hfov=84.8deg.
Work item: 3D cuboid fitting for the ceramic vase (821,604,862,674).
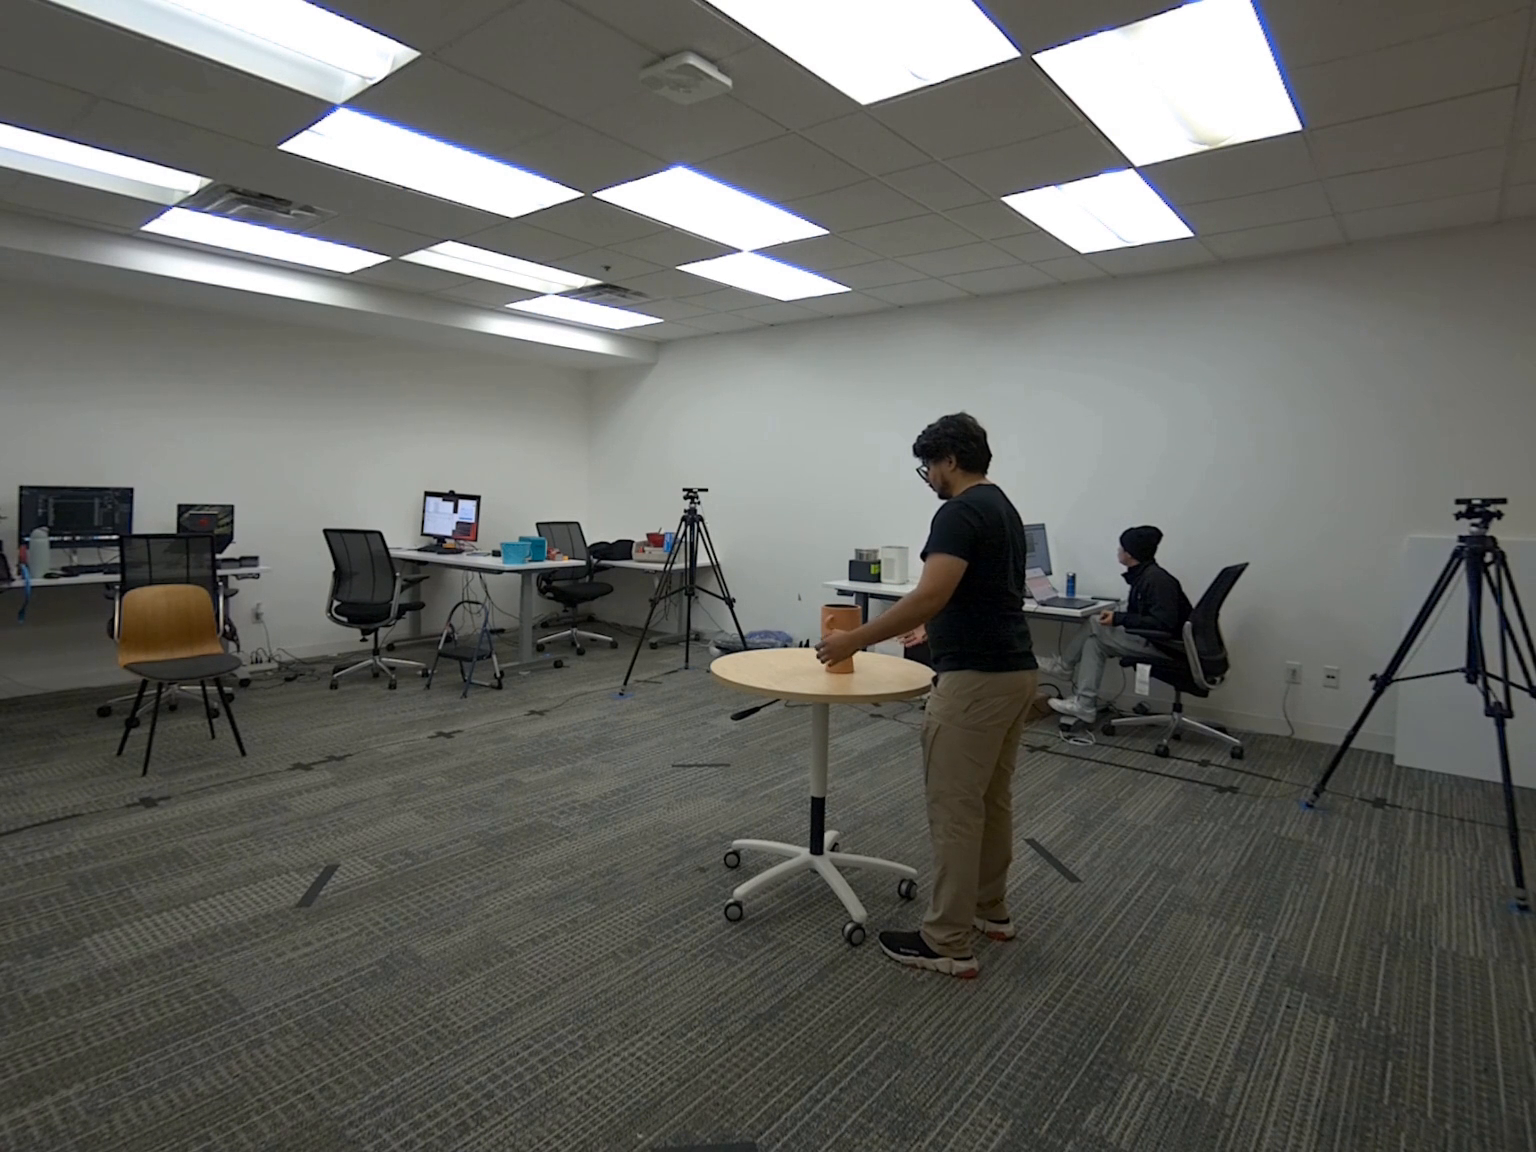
[{"bbox_3d":[0.244,0.211,2.881,0.156,0.219,0.137,0,3,-17],"label":"ceramic vase"}]
